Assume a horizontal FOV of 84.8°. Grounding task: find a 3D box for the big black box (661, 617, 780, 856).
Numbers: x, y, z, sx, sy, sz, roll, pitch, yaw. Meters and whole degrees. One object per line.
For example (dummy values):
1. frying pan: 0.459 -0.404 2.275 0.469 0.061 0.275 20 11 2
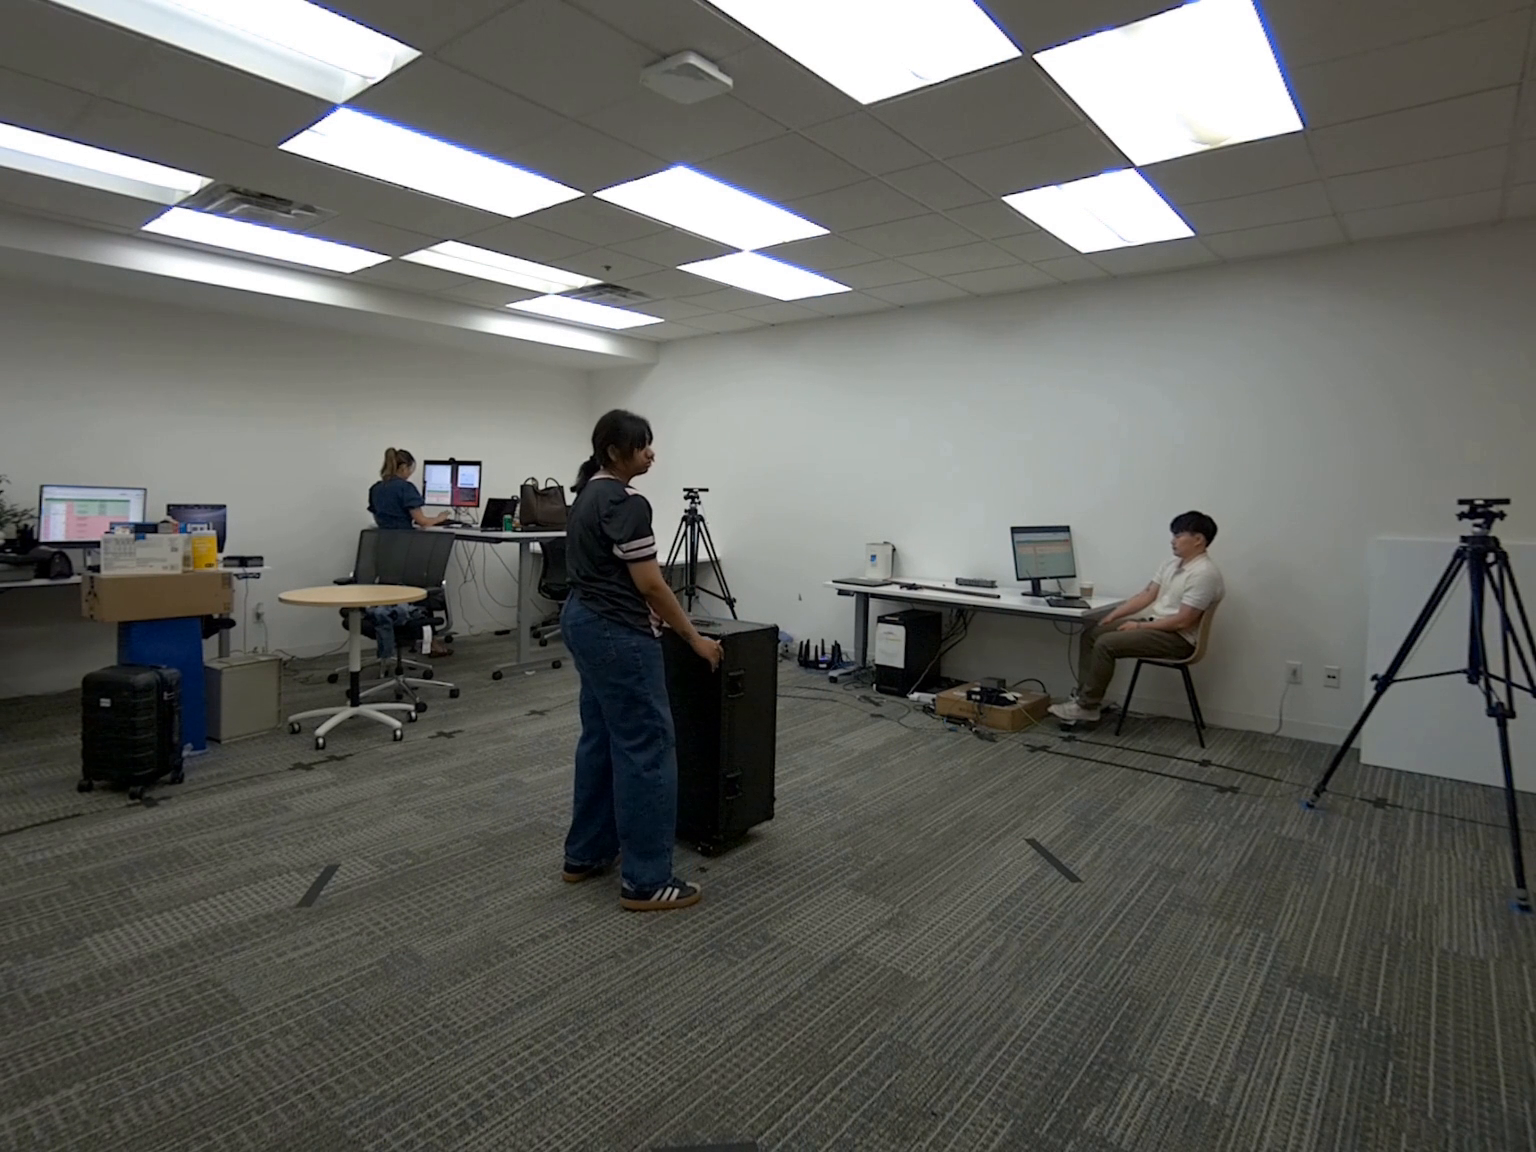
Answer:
1. big black box: -0.269 0.613 3.446 0.539 0.860 0.384 4 3 39
